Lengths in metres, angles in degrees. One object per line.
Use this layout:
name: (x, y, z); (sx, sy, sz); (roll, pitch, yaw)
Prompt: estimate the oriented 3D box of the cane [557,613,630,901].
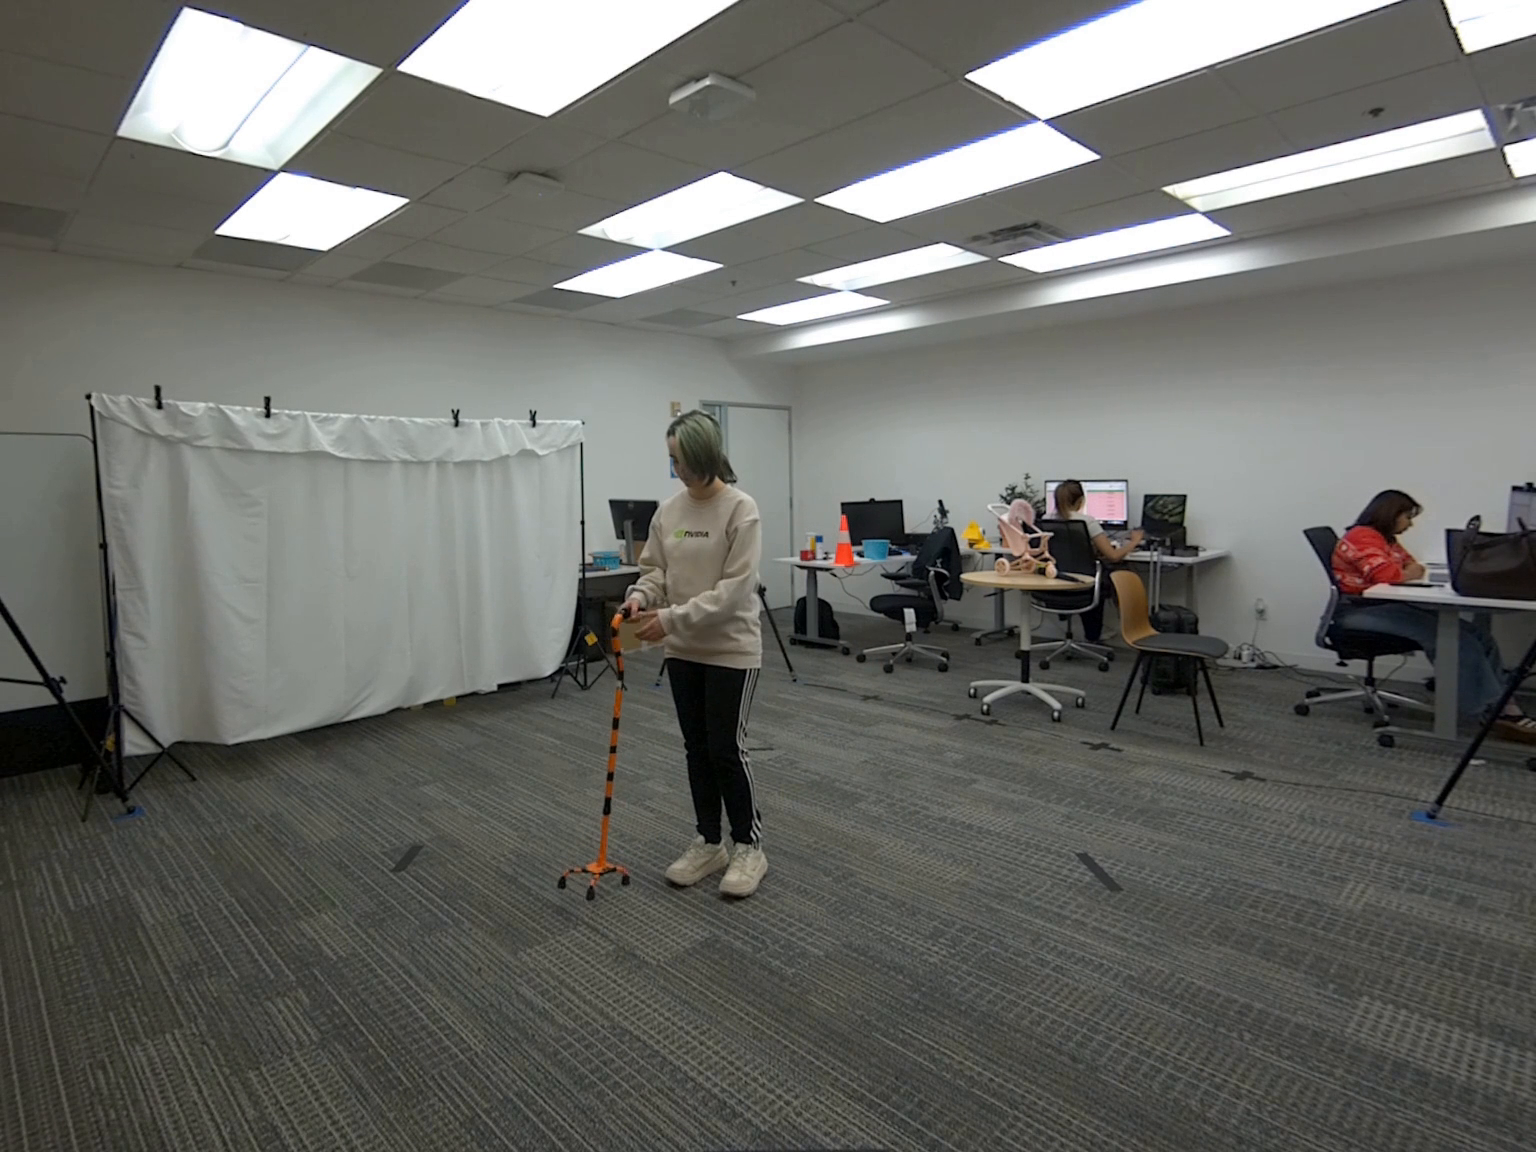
cane: (-0.519, 0.569, 2.810); (0.156, 0.910, 0.200); (4, -3, 33)
